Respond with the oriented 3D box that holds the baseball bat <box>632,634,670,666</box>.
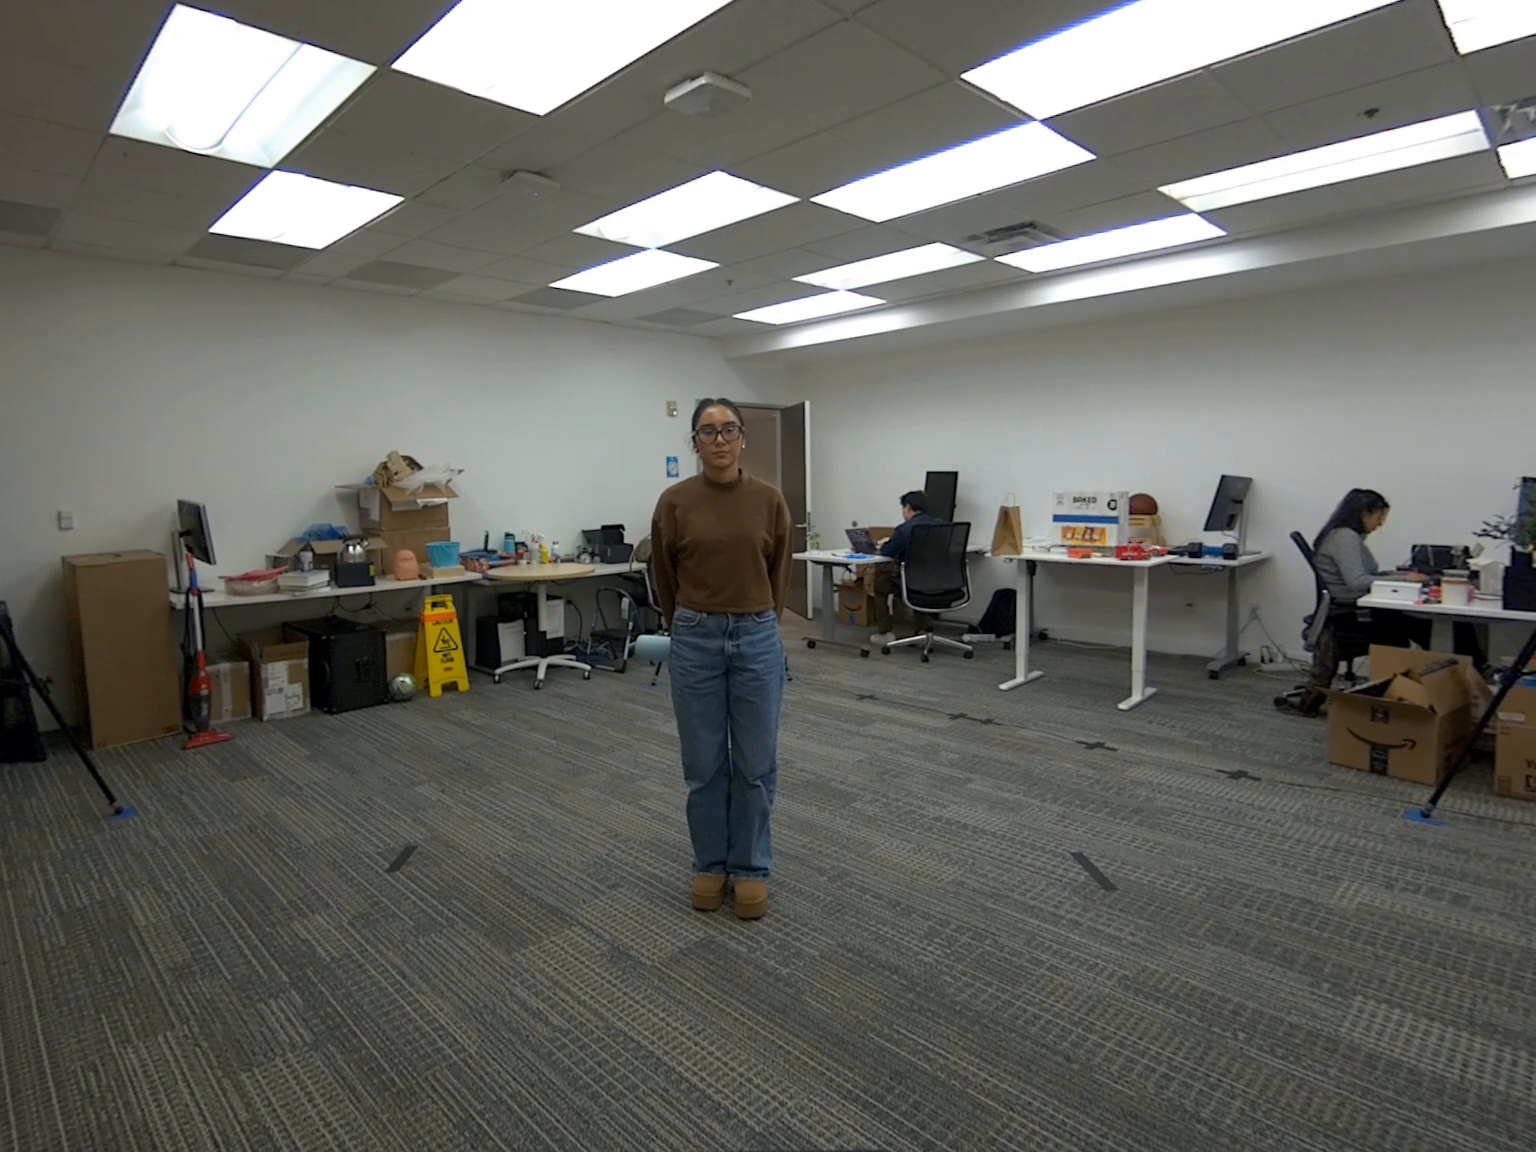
[{"bbox_3d":[-0.184,0.276,2.993,0.551,0.089,0.088,4,6,14],"label":"baseball bat"}]
